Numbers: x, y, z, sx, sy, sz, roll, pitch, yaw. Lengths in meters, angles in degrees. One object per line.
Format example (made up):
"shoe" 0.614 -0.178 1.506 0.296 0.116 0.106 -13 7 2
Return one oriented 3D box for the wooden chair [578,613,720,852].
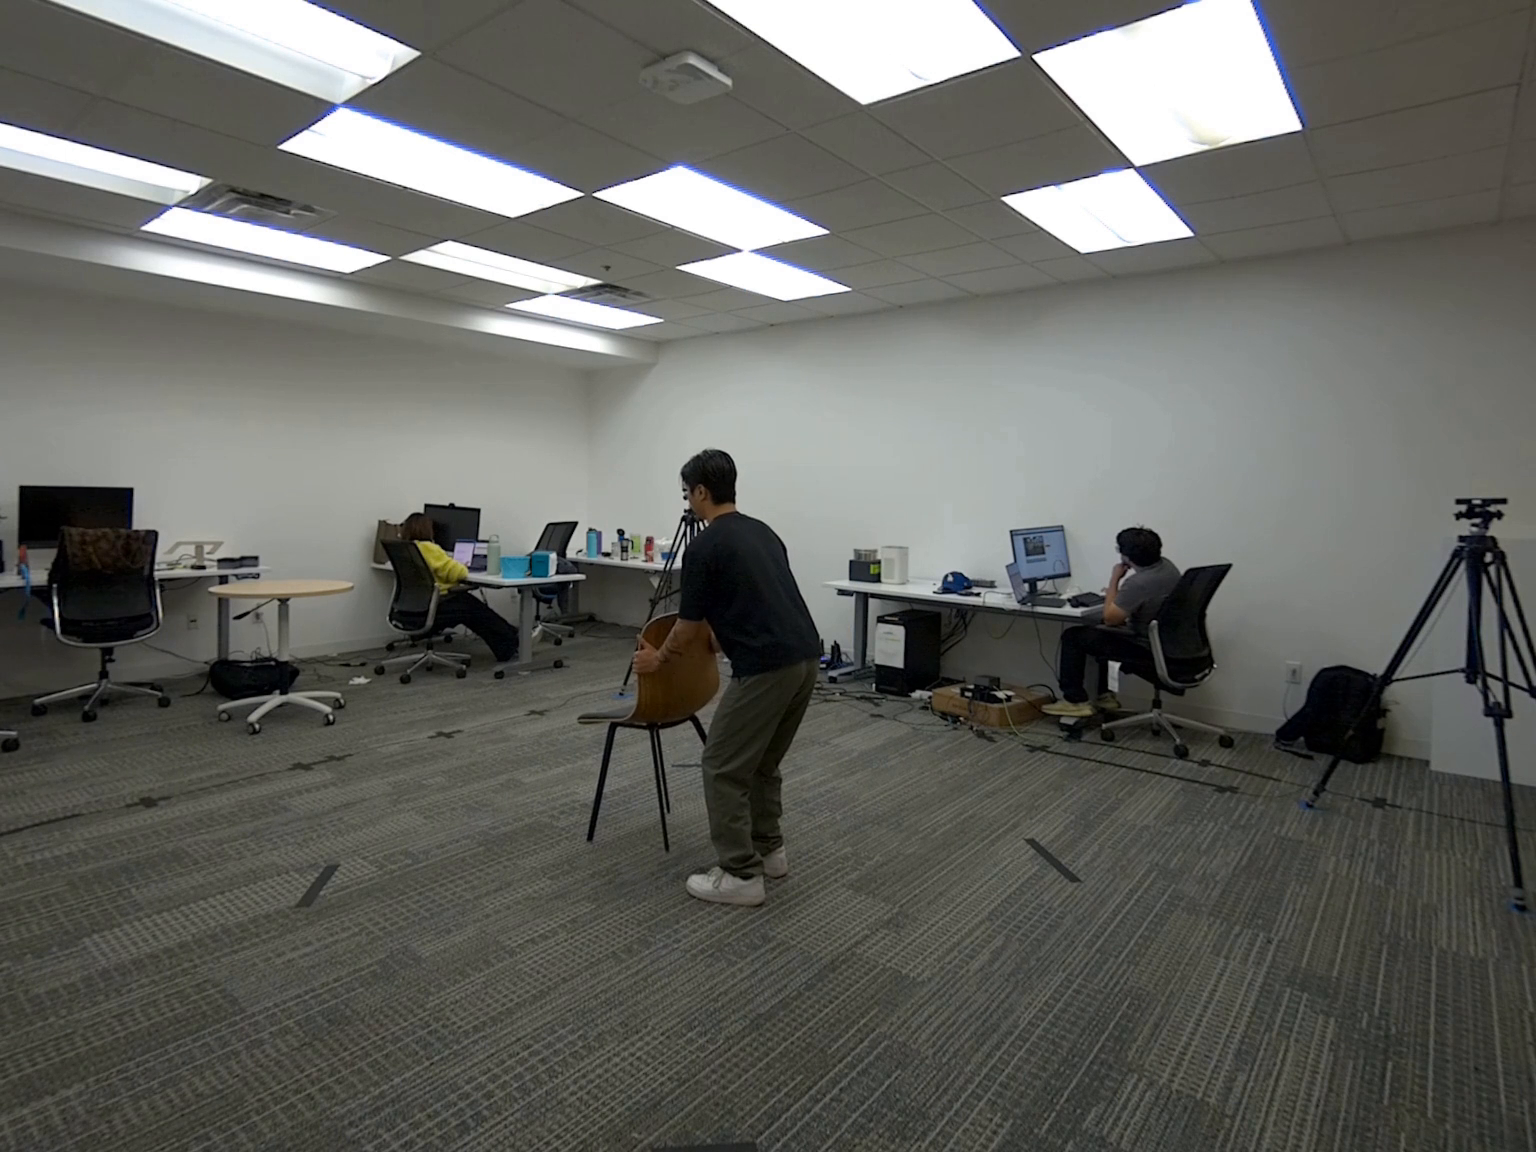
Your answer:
"wooden chair" -0.474 0.578 3.387 0.538 0.879 0.464 -5 -1 40
